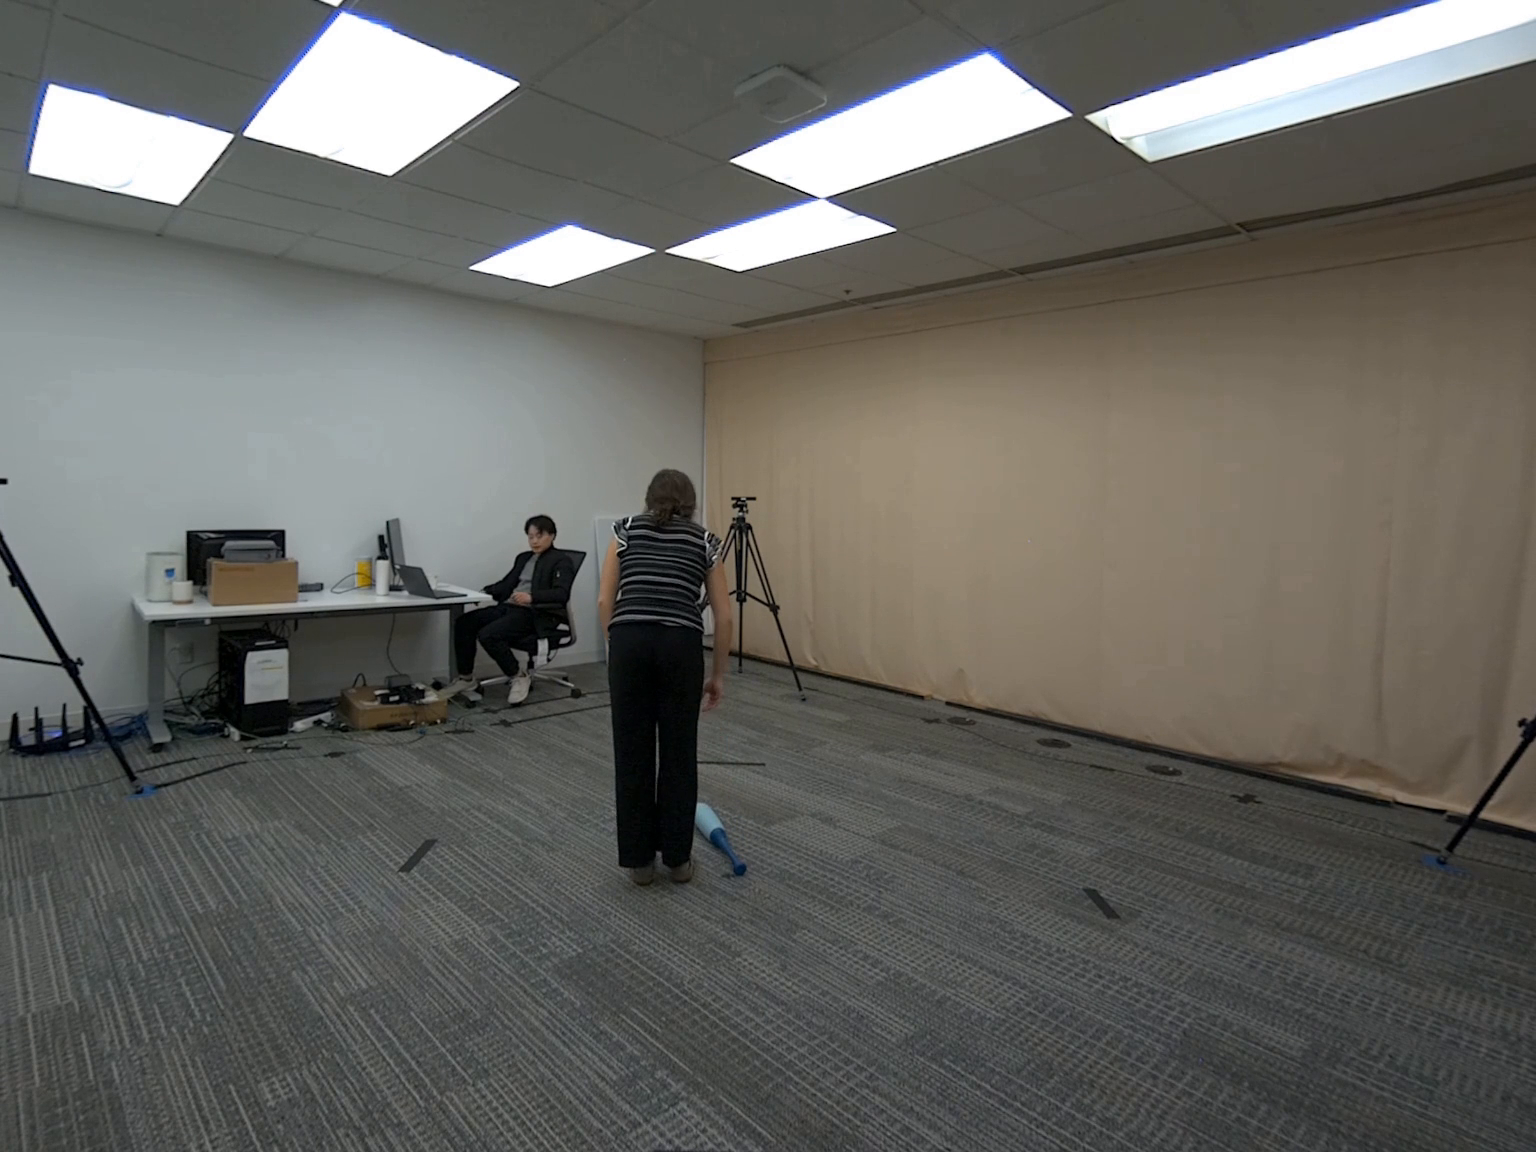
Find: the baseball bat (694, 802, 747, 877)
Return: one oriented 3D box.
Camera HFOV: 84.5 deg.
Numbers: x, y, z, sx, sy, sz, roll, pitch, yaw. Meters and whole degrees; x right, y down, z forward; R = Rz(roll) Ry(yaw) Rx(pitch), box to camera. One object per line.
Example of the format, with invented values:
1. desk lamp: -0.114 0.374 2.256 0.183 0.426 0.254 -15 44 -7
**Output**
1. baseball bat: -0.198 1.048 3.357 0.088 0.088 0.554 0 8 -21
